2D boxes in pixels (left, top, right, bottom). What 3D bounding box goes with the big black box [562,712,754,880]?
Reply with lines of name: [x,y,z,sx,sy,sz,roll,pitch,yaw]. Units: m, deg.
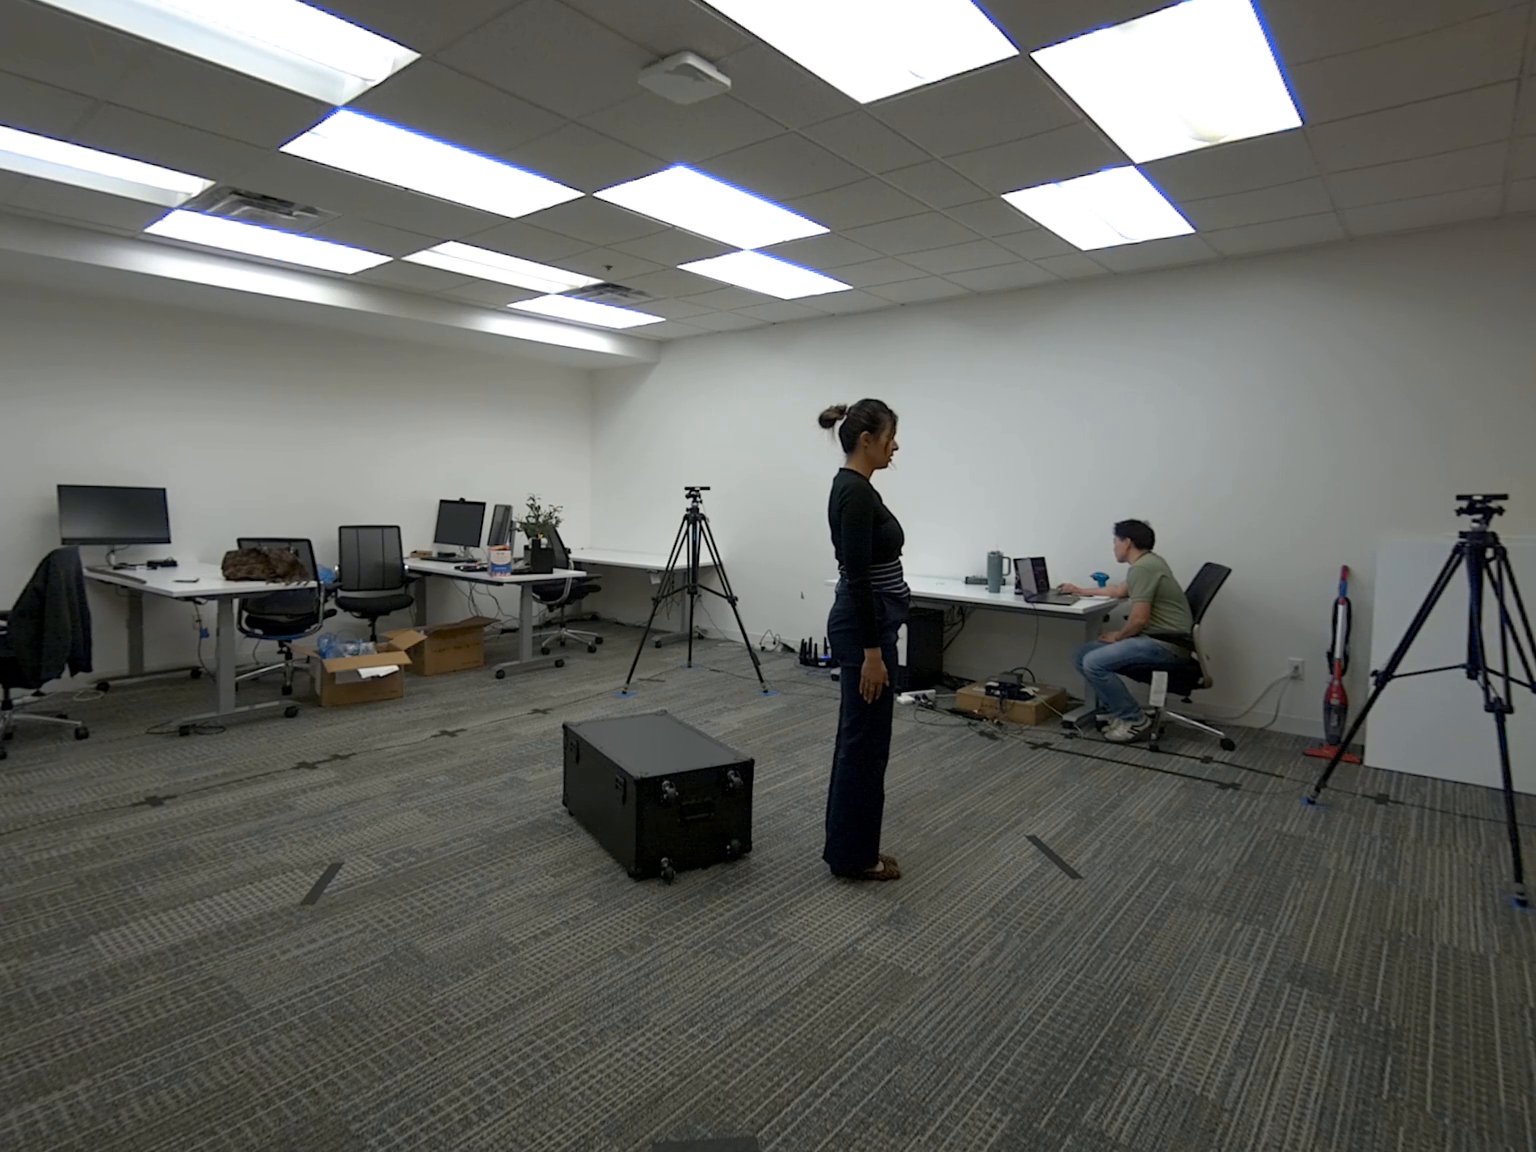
big black box: [-0.497,0.840,3.443,0.507,0.395,0.889,-1,6,-31]
